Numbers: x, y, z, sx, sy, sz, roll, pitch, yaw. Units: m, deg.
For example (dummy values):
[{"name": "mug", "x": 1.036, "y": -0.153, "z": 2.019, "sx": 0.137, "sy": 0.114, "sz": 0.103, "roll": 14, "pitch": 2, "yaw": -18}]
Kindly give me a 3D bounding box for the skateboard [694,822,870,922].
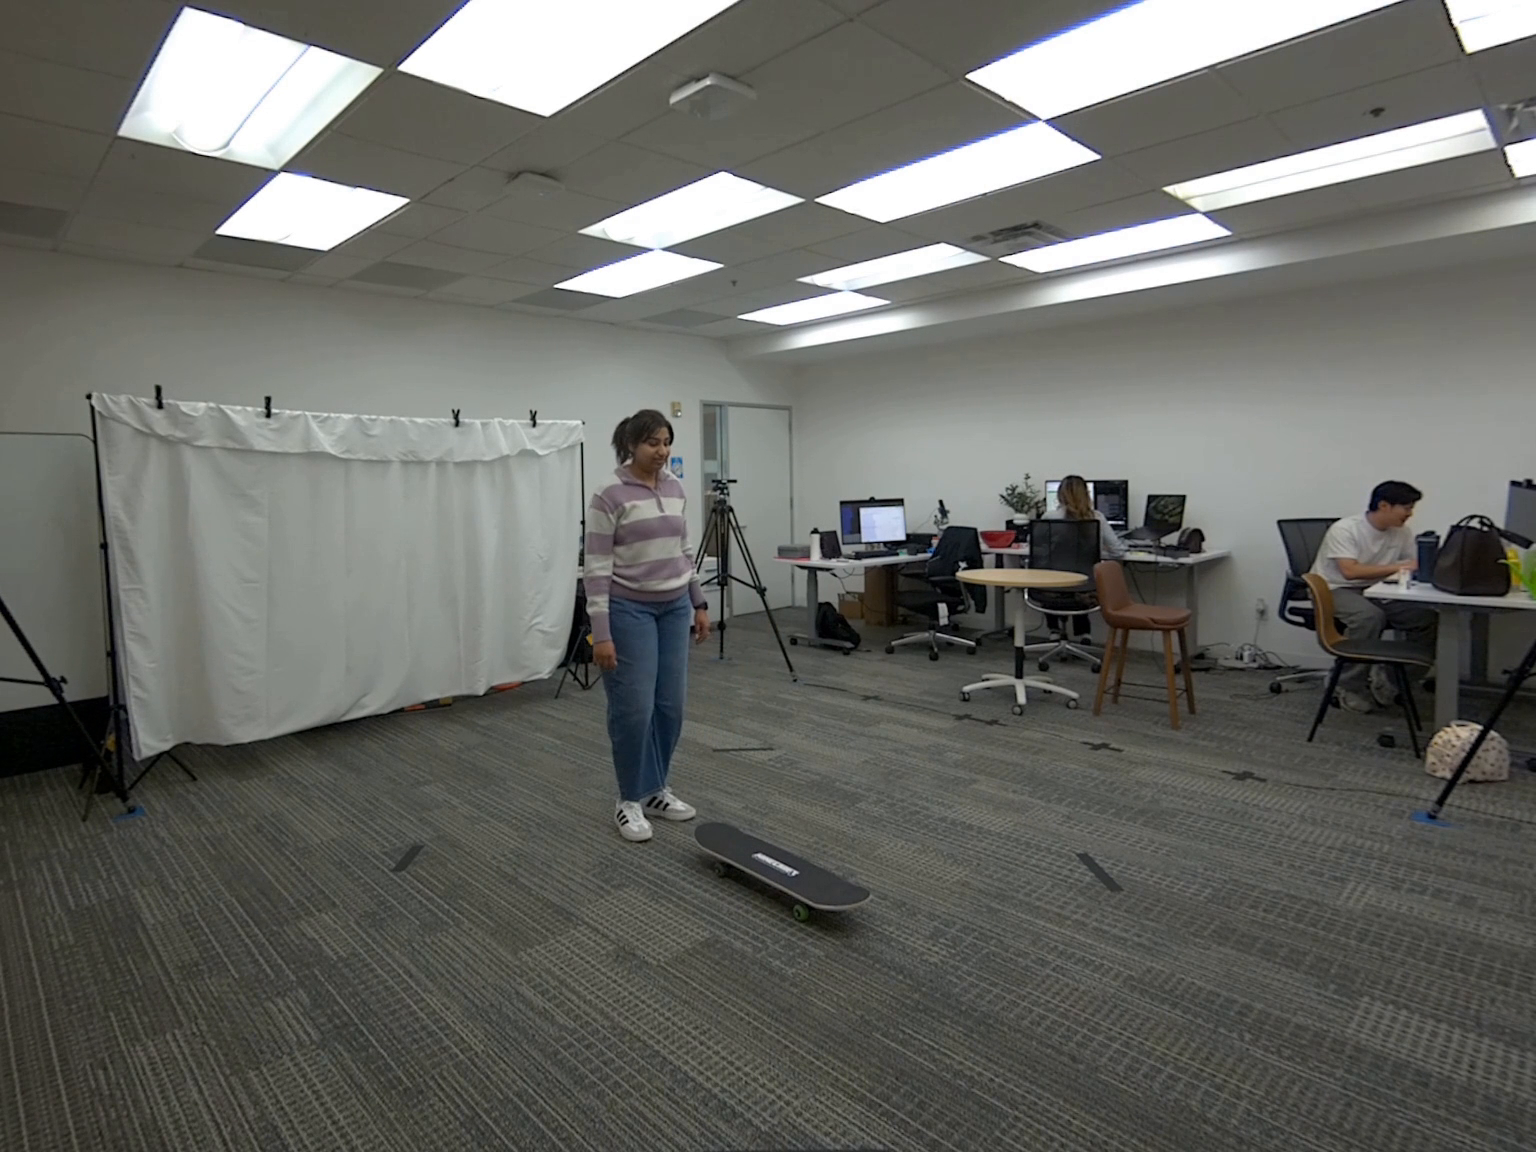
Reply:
[{"name": "skateboard", "x": 0.035, "y": 1.013, "z": 2.901, "sx": 0.188, "sy": 0.110, "sz": 0.810, "roll": -7, "pitch": 9, "yaw": -41}]
